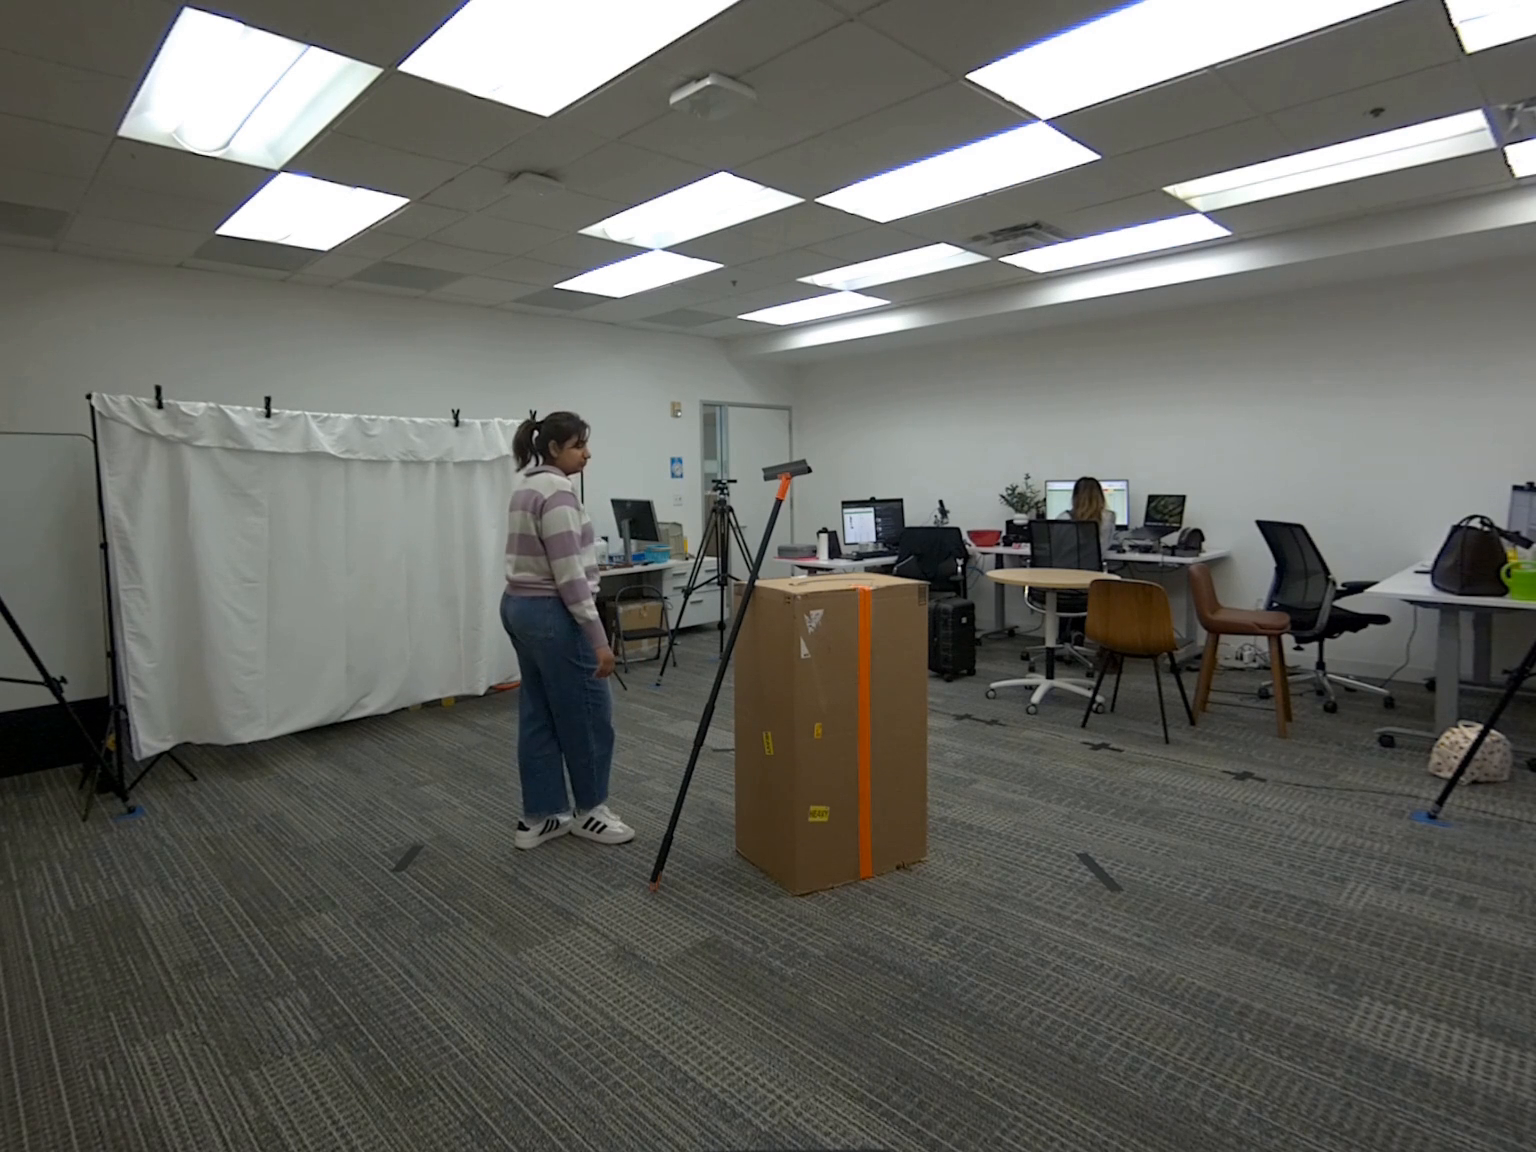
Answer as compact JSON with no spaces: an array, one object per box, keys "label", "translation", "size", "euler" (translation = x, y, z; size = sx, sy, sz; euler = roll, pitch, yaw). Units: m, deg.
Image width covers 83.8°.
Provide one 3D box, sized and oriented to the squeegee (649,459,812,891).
[{"label":"squeegee","translation":[-0.168,0.334,2.999],"size":[0.052,1.544,0.446],"euler":[20,-7,-22]}]
